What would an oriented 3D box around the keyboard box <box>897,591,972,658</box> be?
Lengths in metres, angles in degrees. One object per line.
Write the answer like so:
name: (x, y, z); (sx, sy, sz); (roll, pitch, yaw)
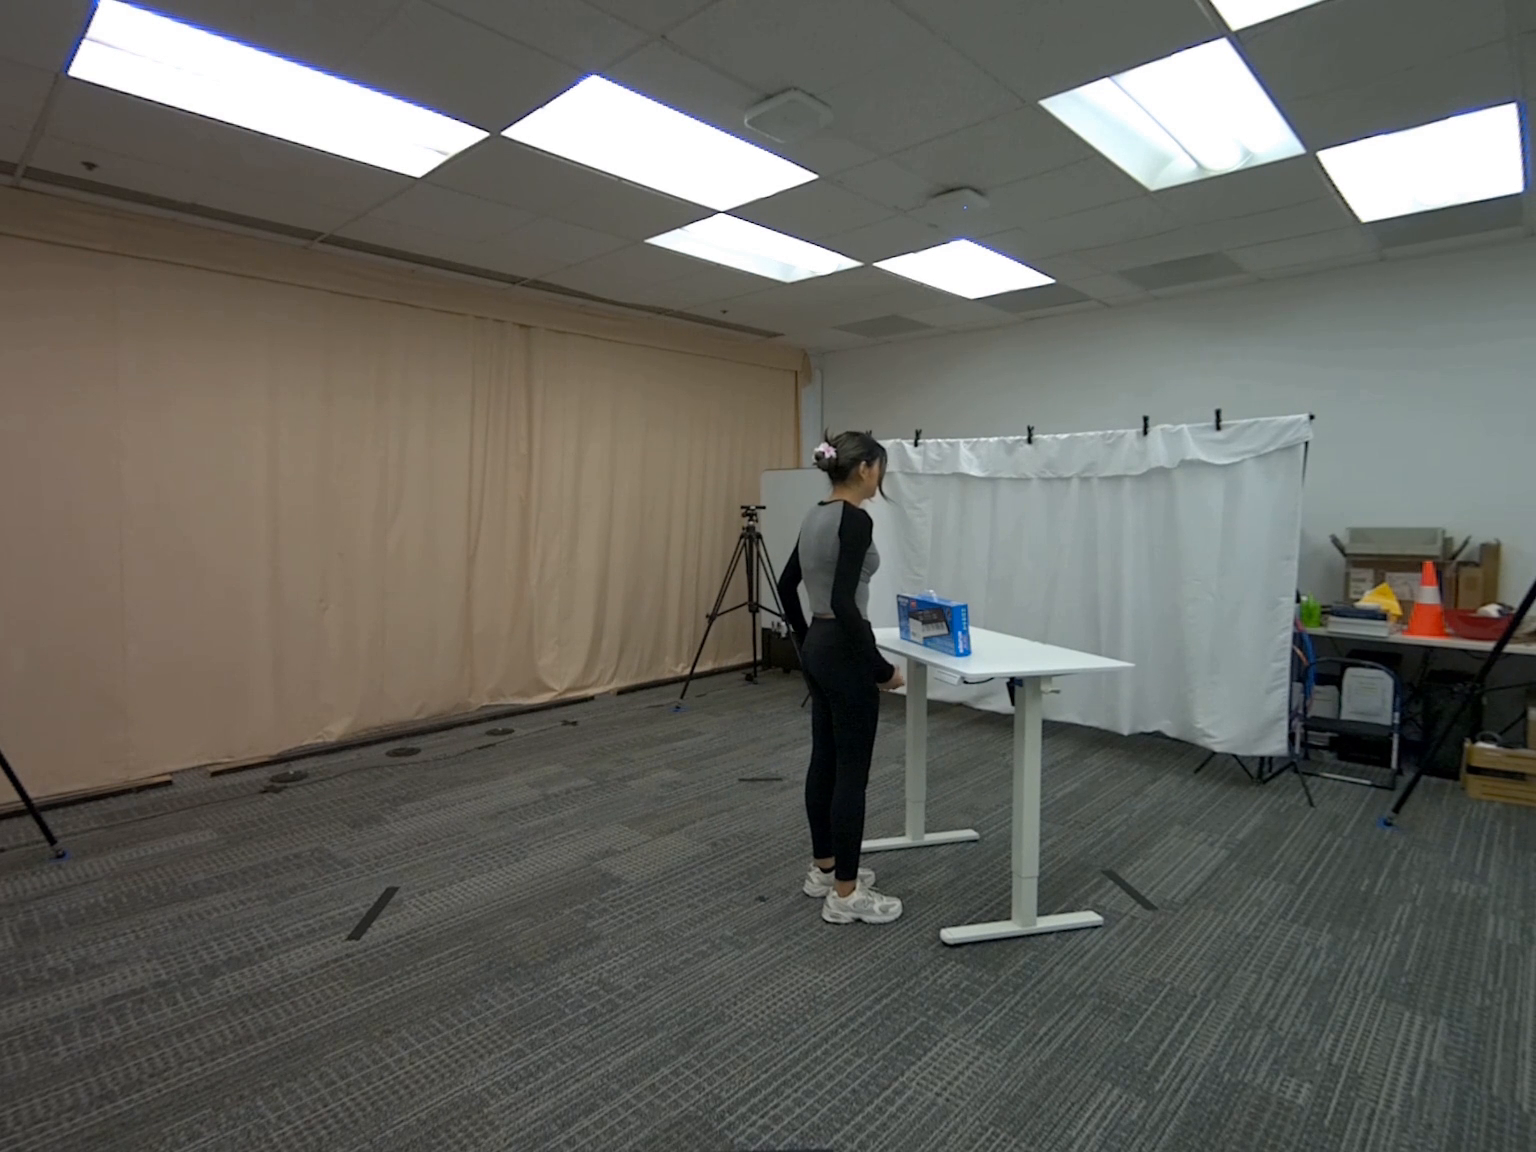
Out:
keyboard box: (0.585, 0.168, 3.013); (0.058, 0.175, 0.444); (-5, 5, -15)
